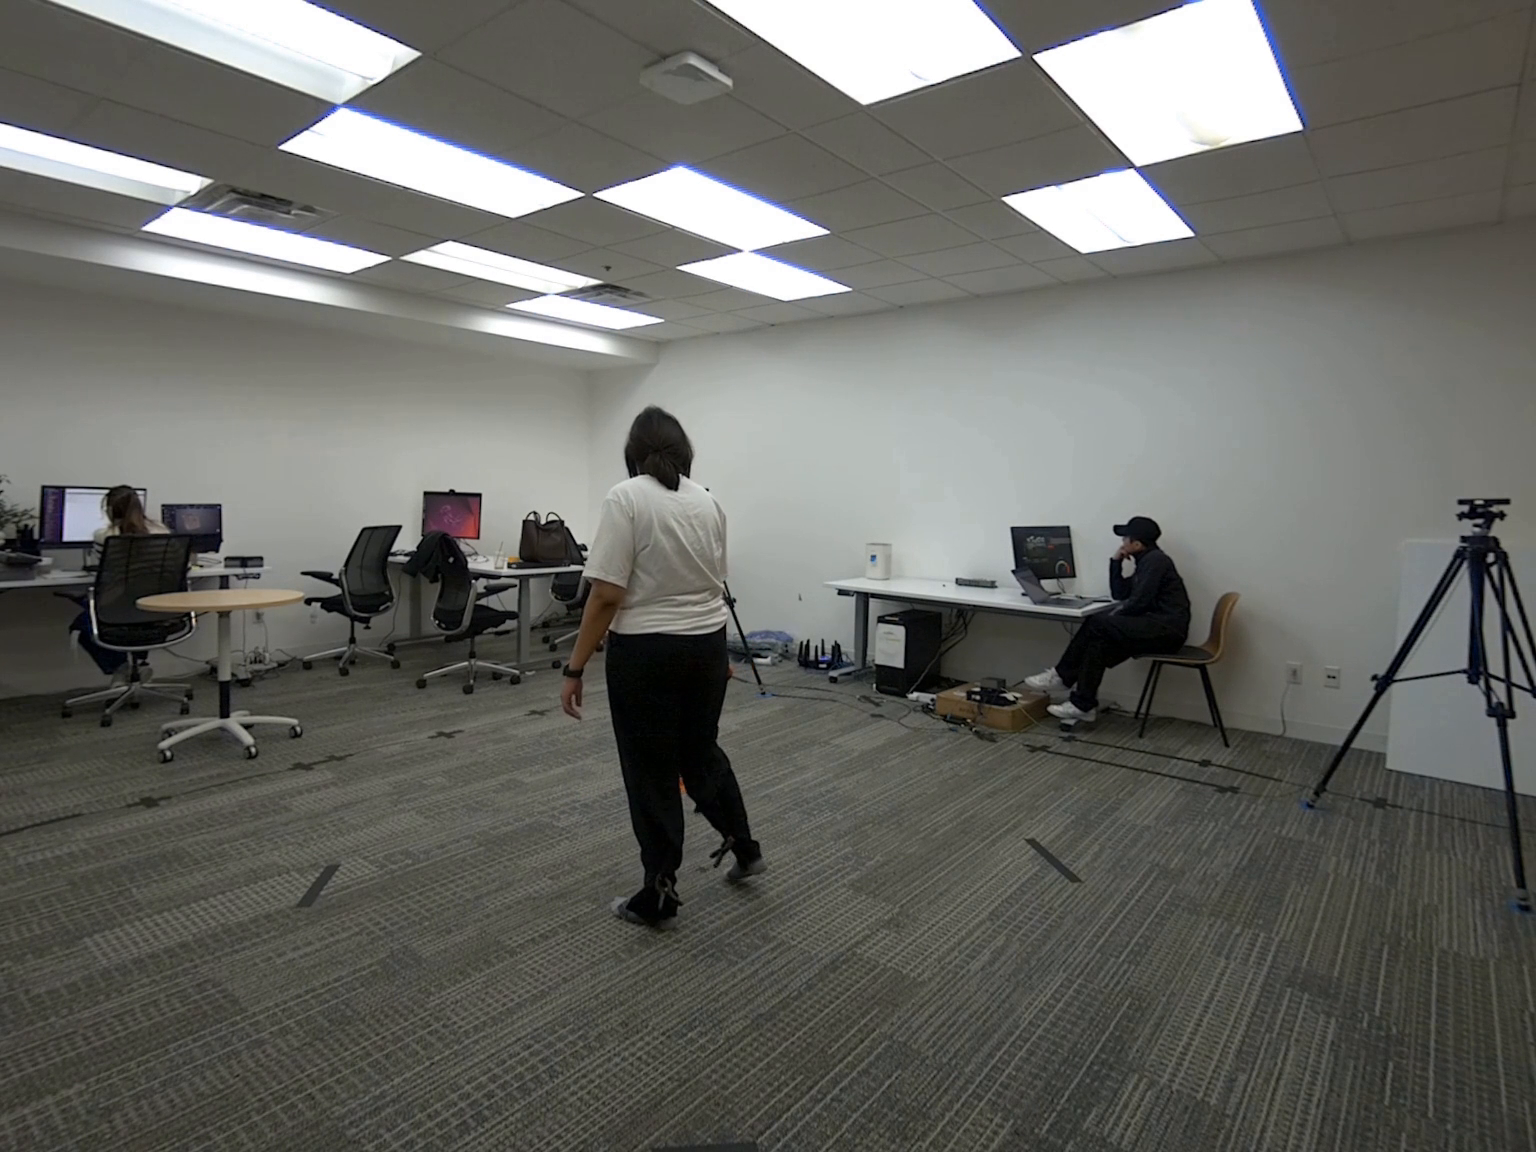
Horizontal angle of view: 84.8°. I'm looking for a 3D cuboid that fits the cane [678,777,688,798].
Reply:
[{"bbox_3d":[-0.303,0.626,3.406,0.206,0.890,0.155,14,43,-2],"label":"cane"}]
